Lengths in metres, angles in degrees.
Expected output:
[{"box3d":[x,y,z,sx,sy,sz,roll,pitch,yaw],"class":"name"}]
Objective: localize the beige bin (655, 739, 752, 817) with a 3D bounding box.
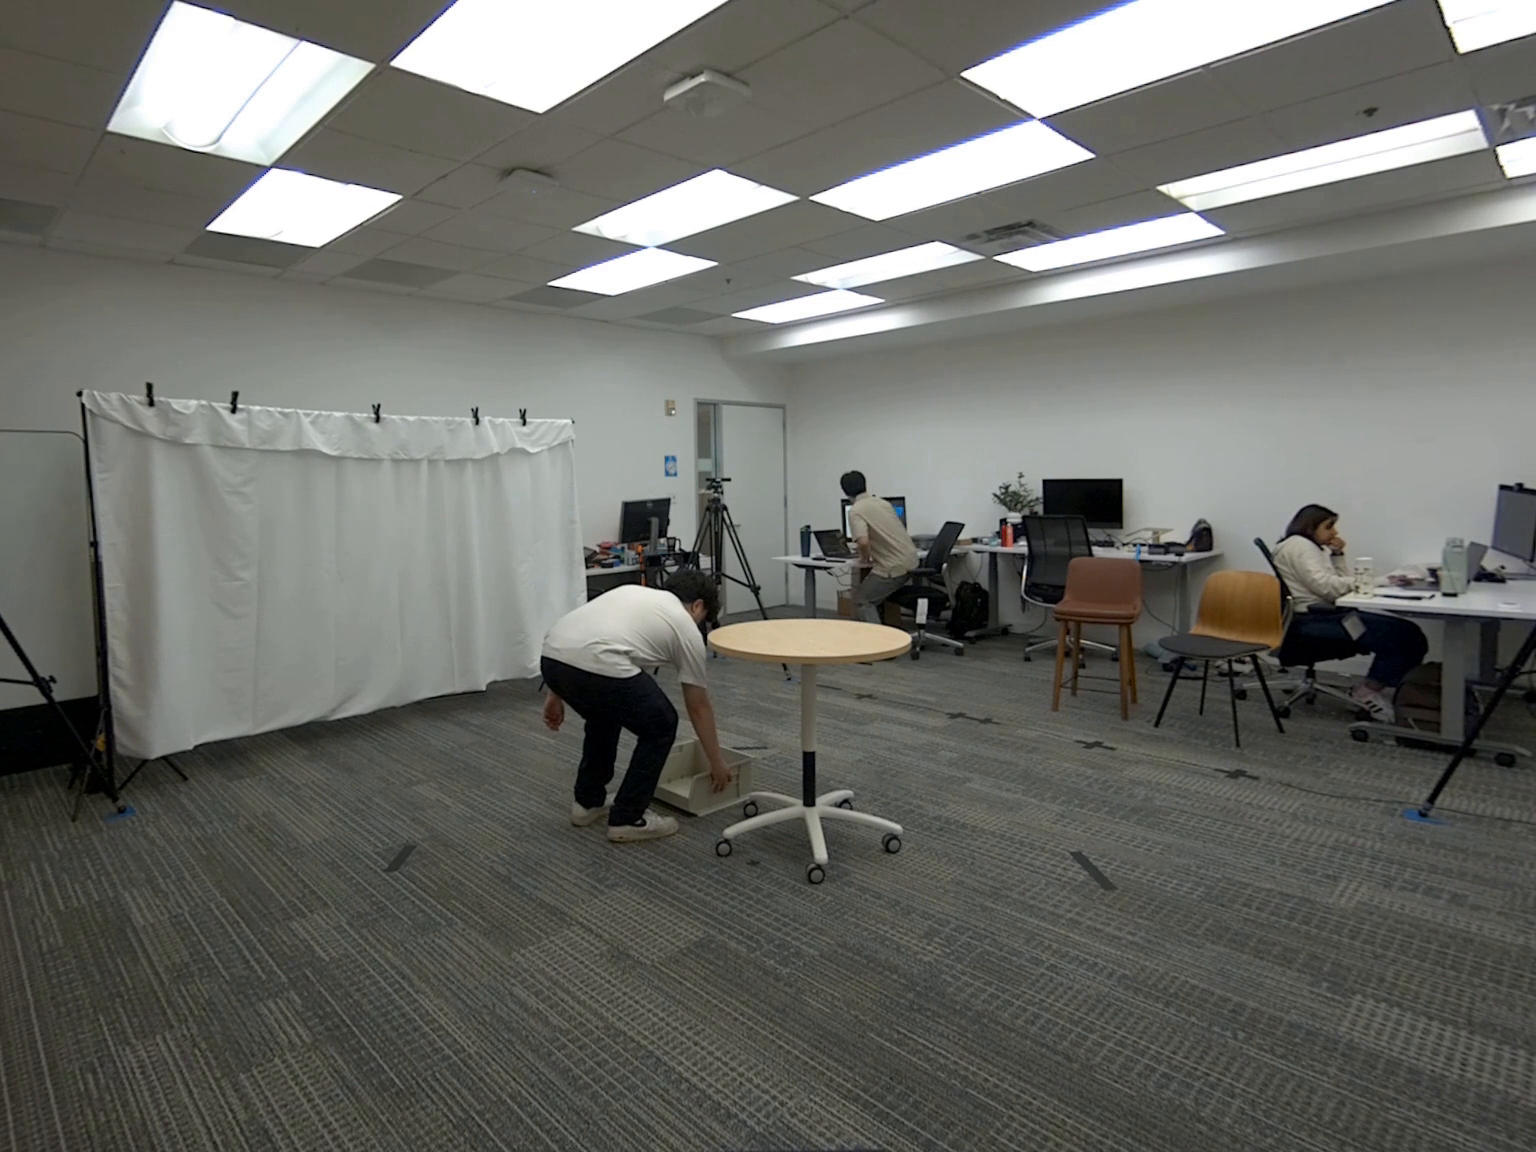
[{"box3d":[-0.332,0.881,3.776,0.367,0.188,0.435,-5,7,-43],"class":"beige bin"}]
